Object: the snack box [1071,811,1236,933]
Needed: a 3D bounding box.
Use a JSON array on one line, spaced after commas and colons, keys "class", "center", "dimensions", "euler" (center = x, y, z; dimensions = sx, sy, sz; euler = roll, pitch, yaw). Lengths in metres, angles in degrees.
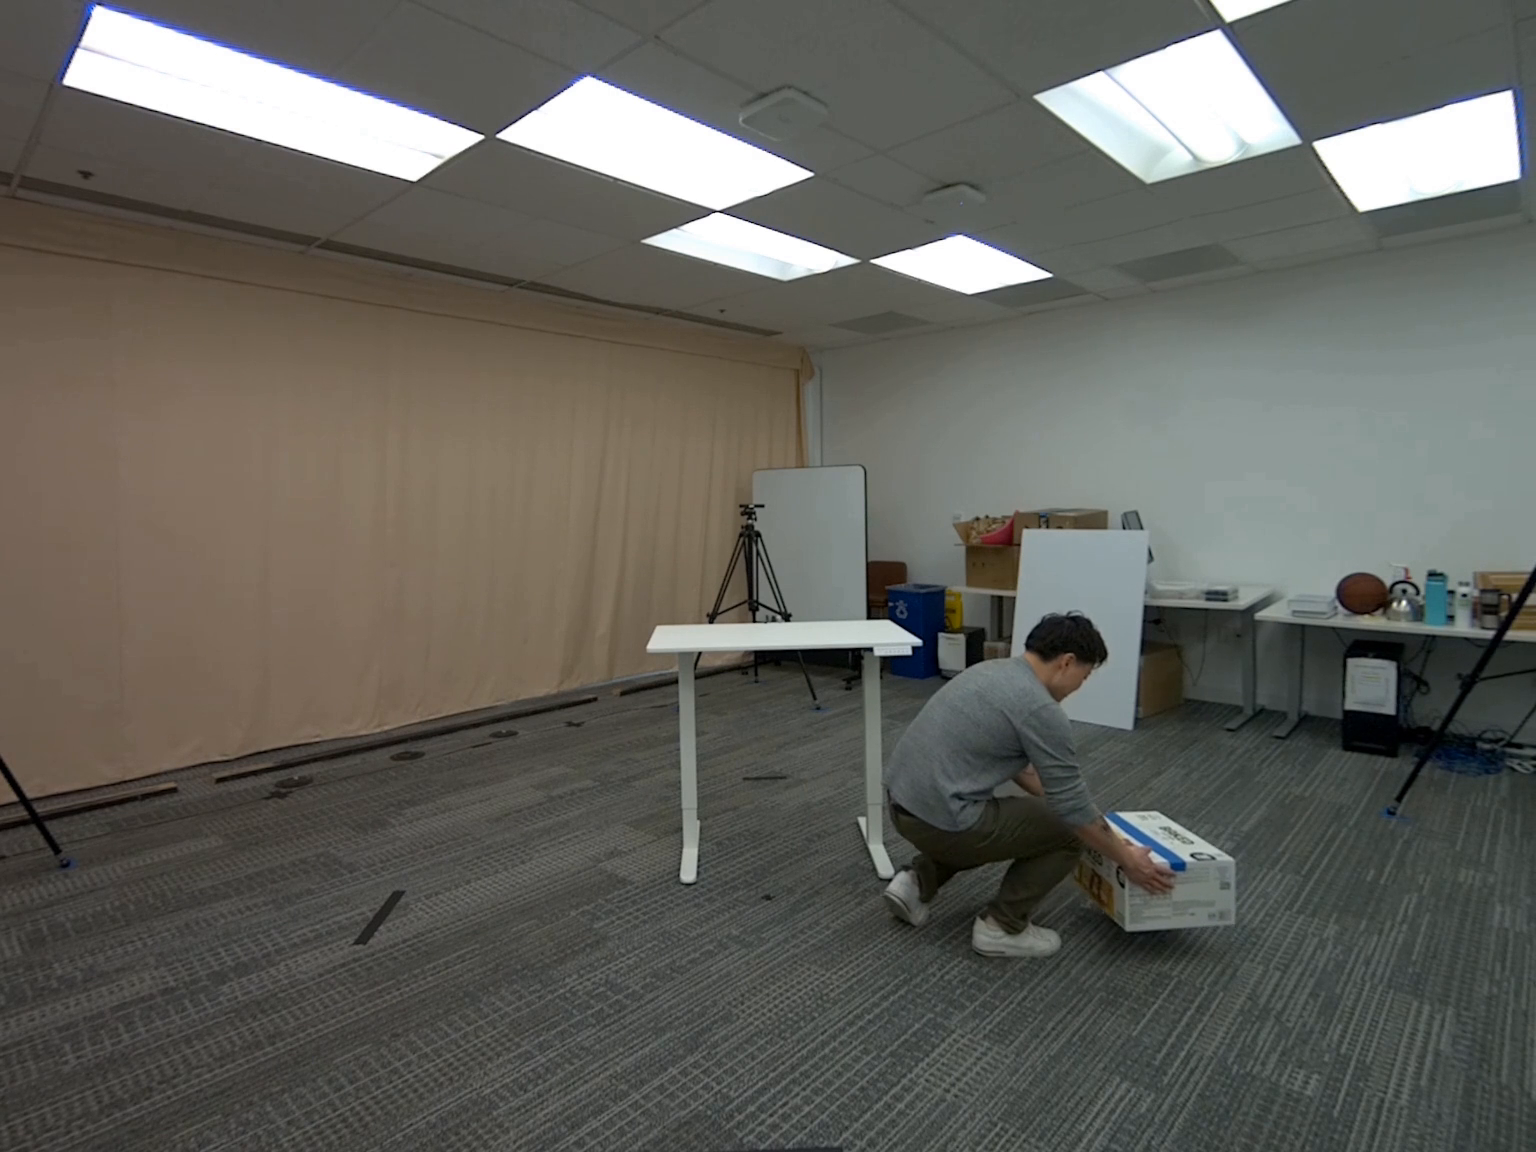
[{"class": "snack box", "center": [1.208, 0.931, 2.689], "dimensions": [0.338, 0.205, 0.408], "euler": [-2, 5, -6]}]
